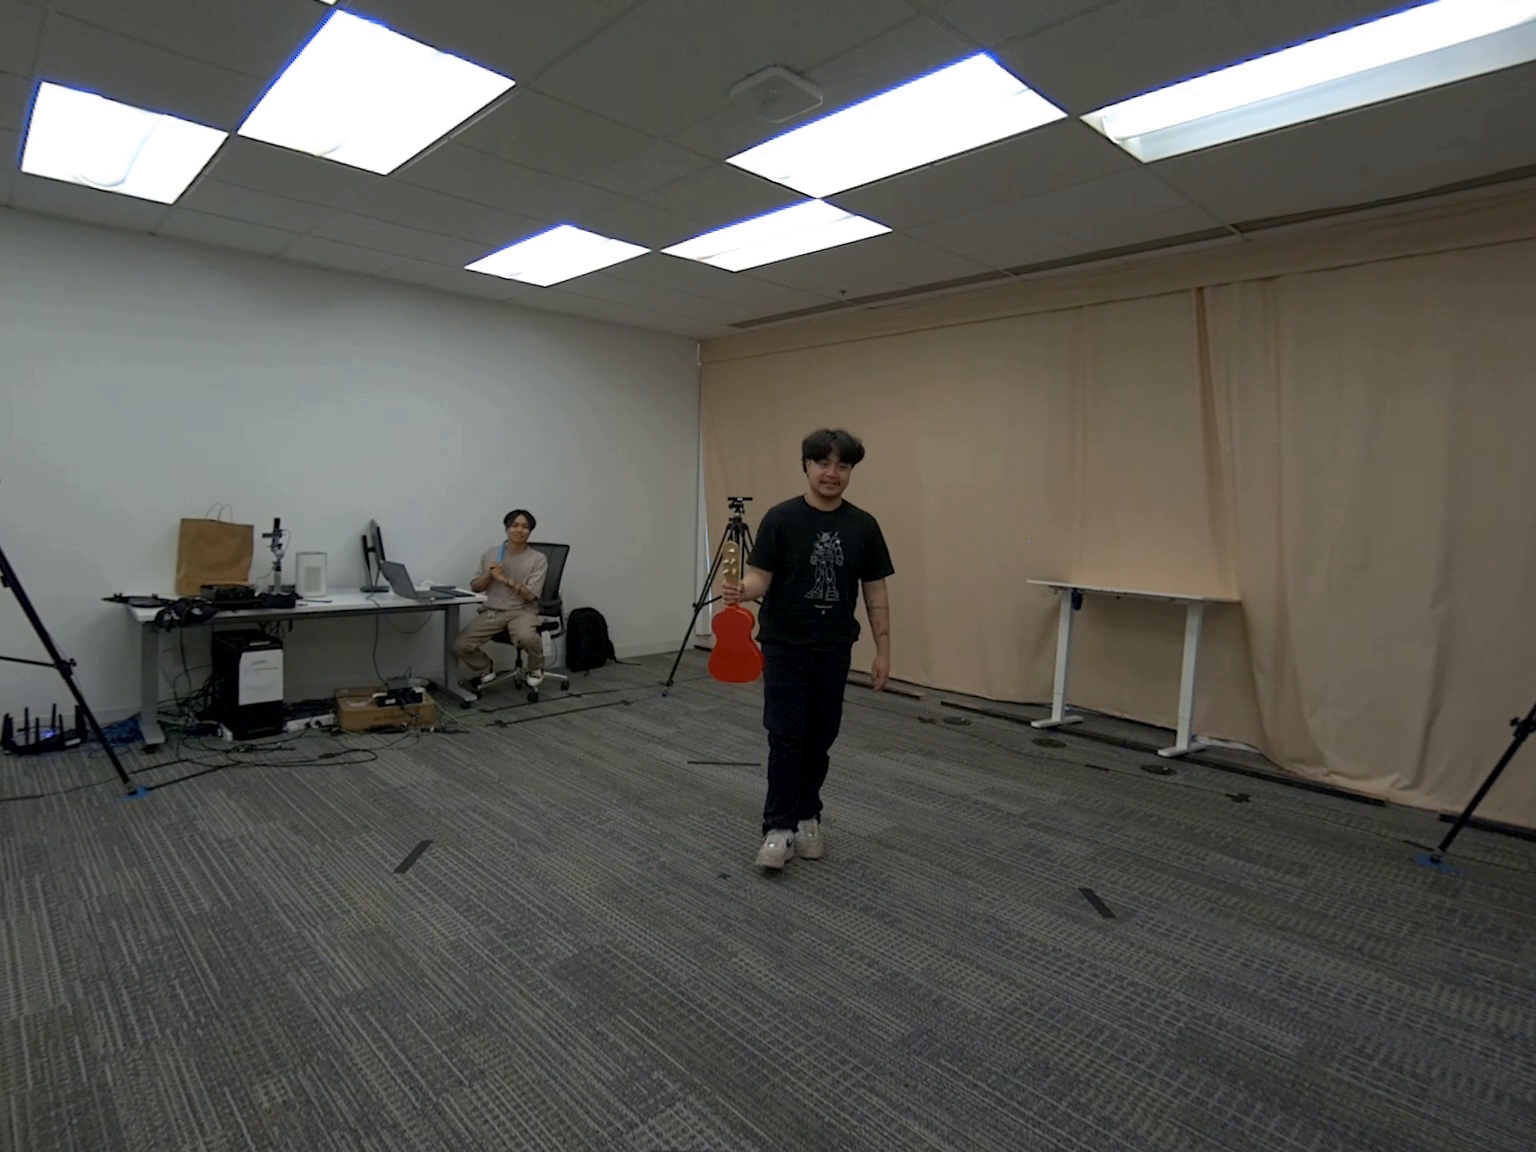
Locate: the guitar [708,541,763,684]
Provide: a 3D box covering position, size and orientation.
[{"bbox_3d":[-0.147,0.142,2.977,0.195,0.493,0.071,-8,10,13],"label":"guitar"}]
